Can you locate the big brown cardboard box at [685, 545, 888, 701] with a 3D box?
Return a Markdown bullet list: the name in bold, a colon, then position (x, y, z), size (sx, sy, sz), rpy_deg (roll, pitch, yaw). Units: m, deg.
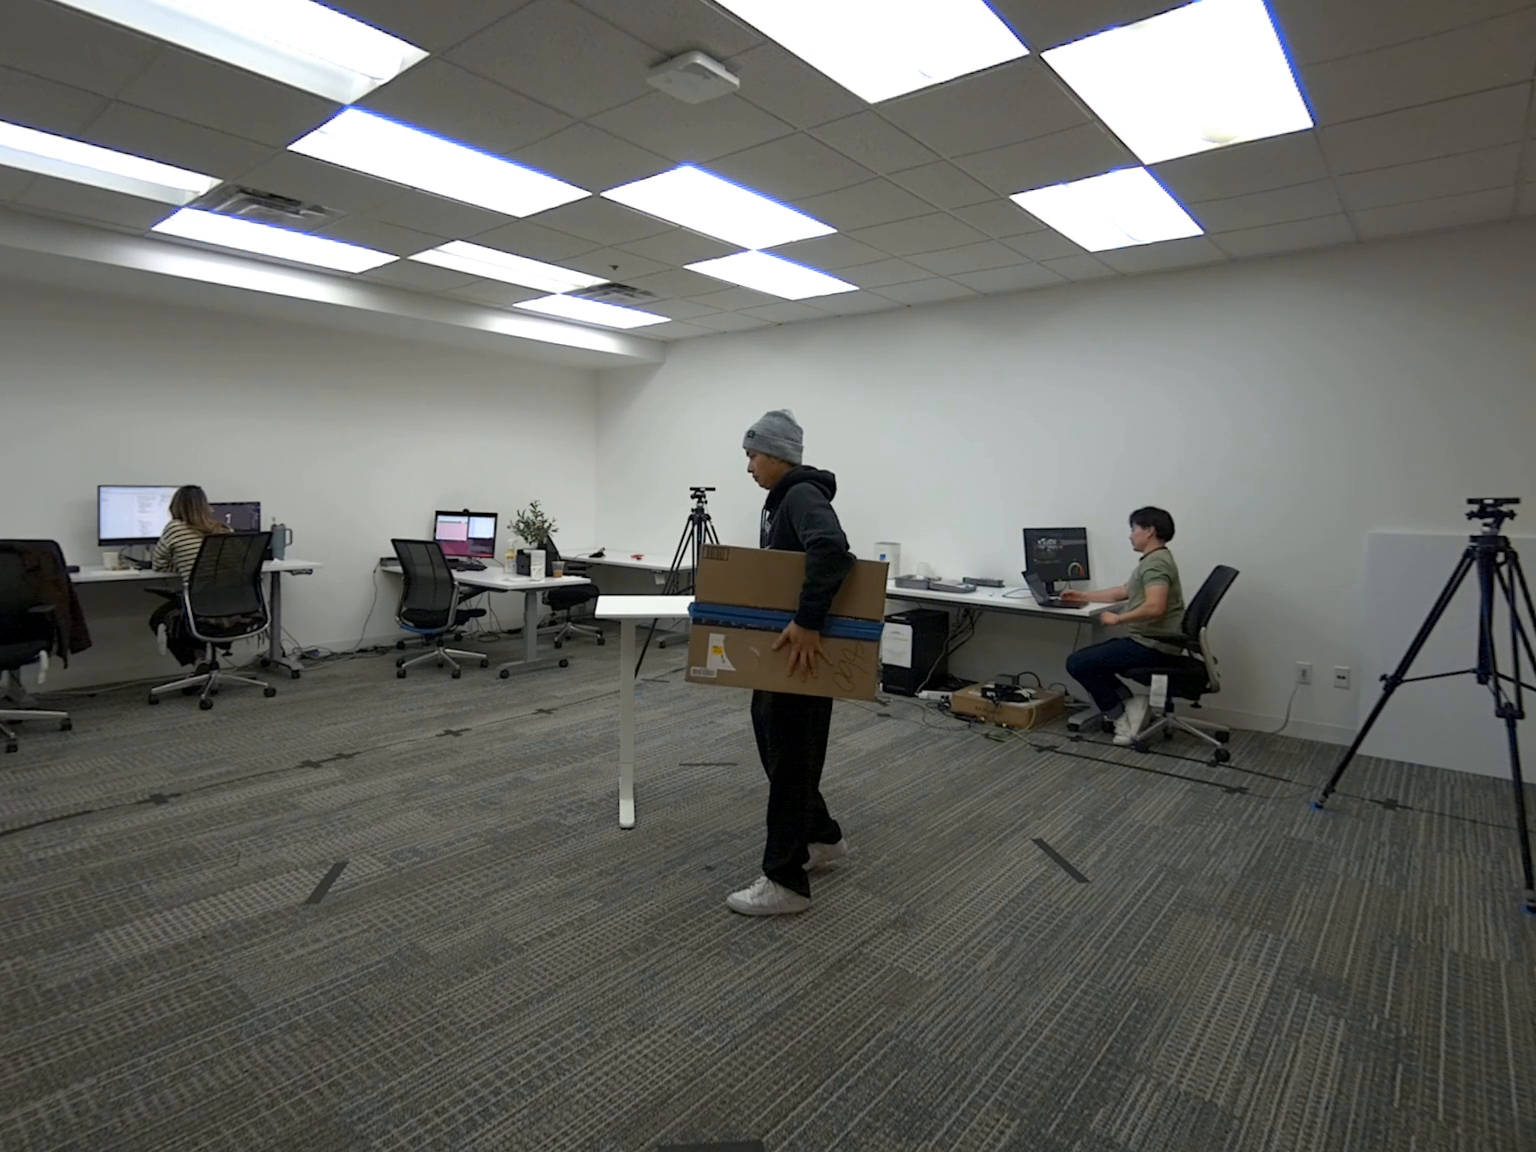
- **big brown cardboard box**: position (0.047, 0.135, 2.622), size (0.590, 0.418, 0.232), rpy_deg (4, -1, 2)
